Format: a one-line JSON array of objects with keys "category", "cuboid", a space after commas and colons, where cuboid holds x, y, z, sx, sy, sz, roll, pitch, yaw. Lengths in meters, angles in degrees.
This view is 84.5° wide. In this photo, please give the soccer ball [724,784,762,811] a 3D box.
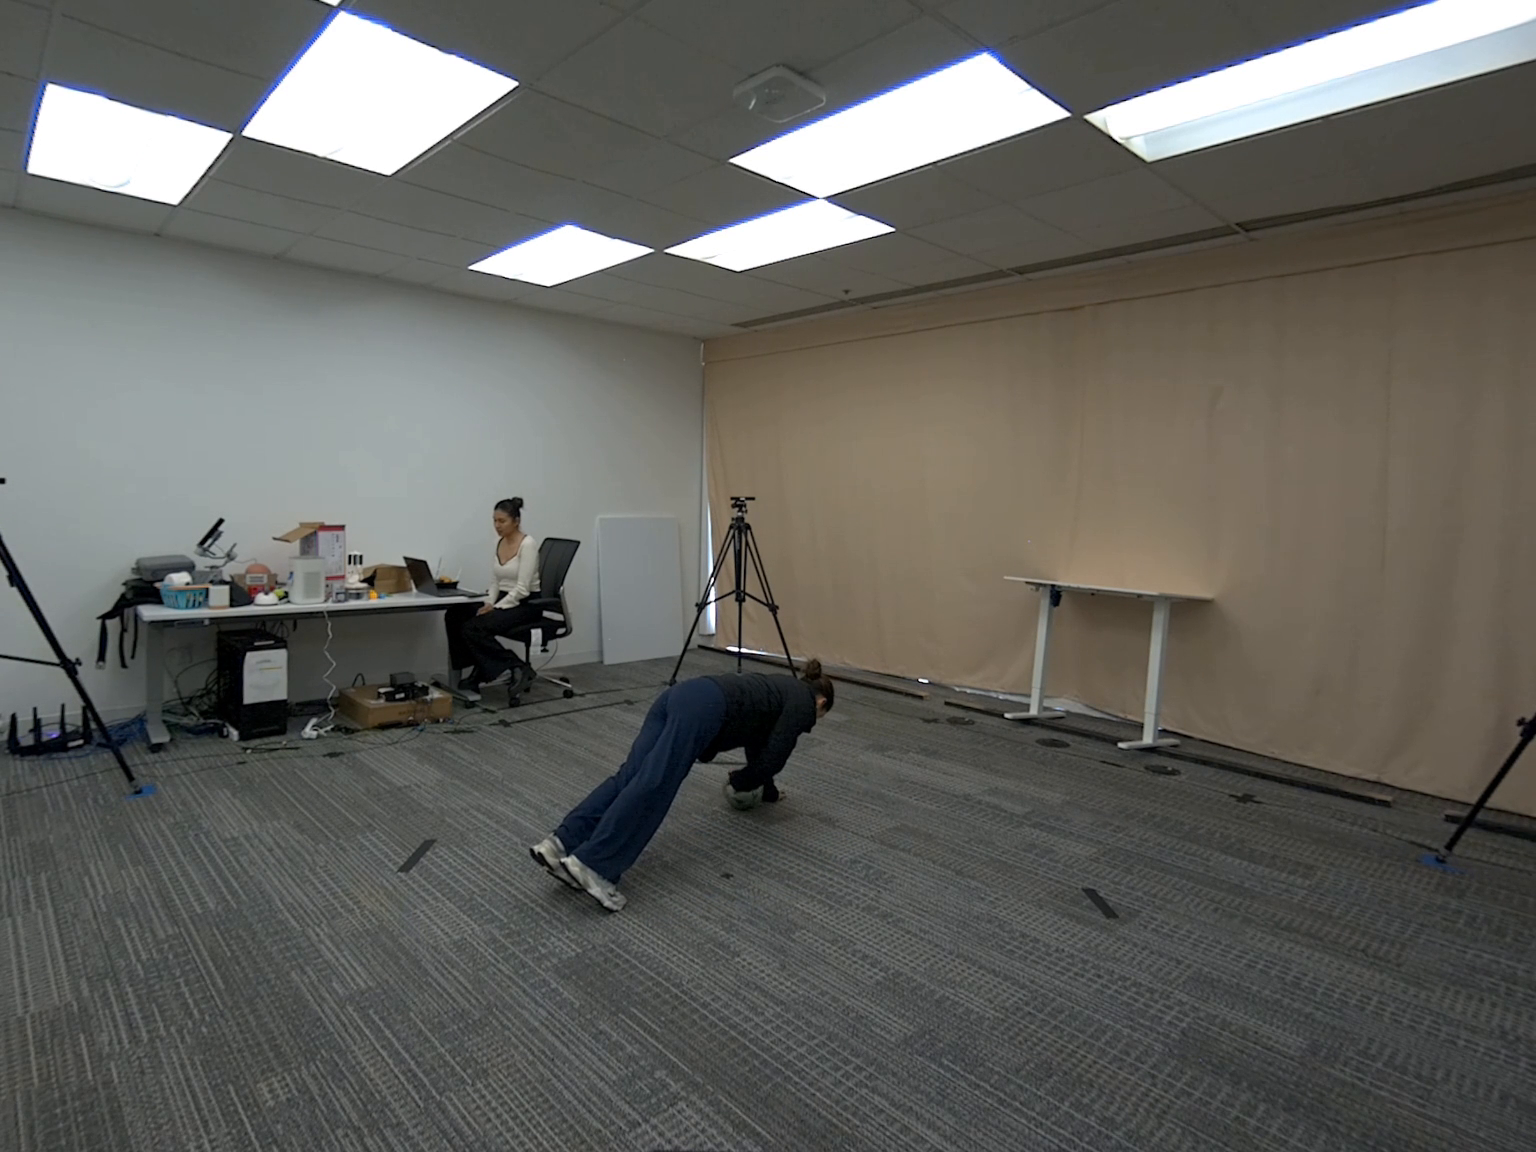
[{"category": "soccer ball", "cuboid": [-0.118, 0.961, 3.801, 0.187, 0.187, 0.188, 1, 4, -1]}]
